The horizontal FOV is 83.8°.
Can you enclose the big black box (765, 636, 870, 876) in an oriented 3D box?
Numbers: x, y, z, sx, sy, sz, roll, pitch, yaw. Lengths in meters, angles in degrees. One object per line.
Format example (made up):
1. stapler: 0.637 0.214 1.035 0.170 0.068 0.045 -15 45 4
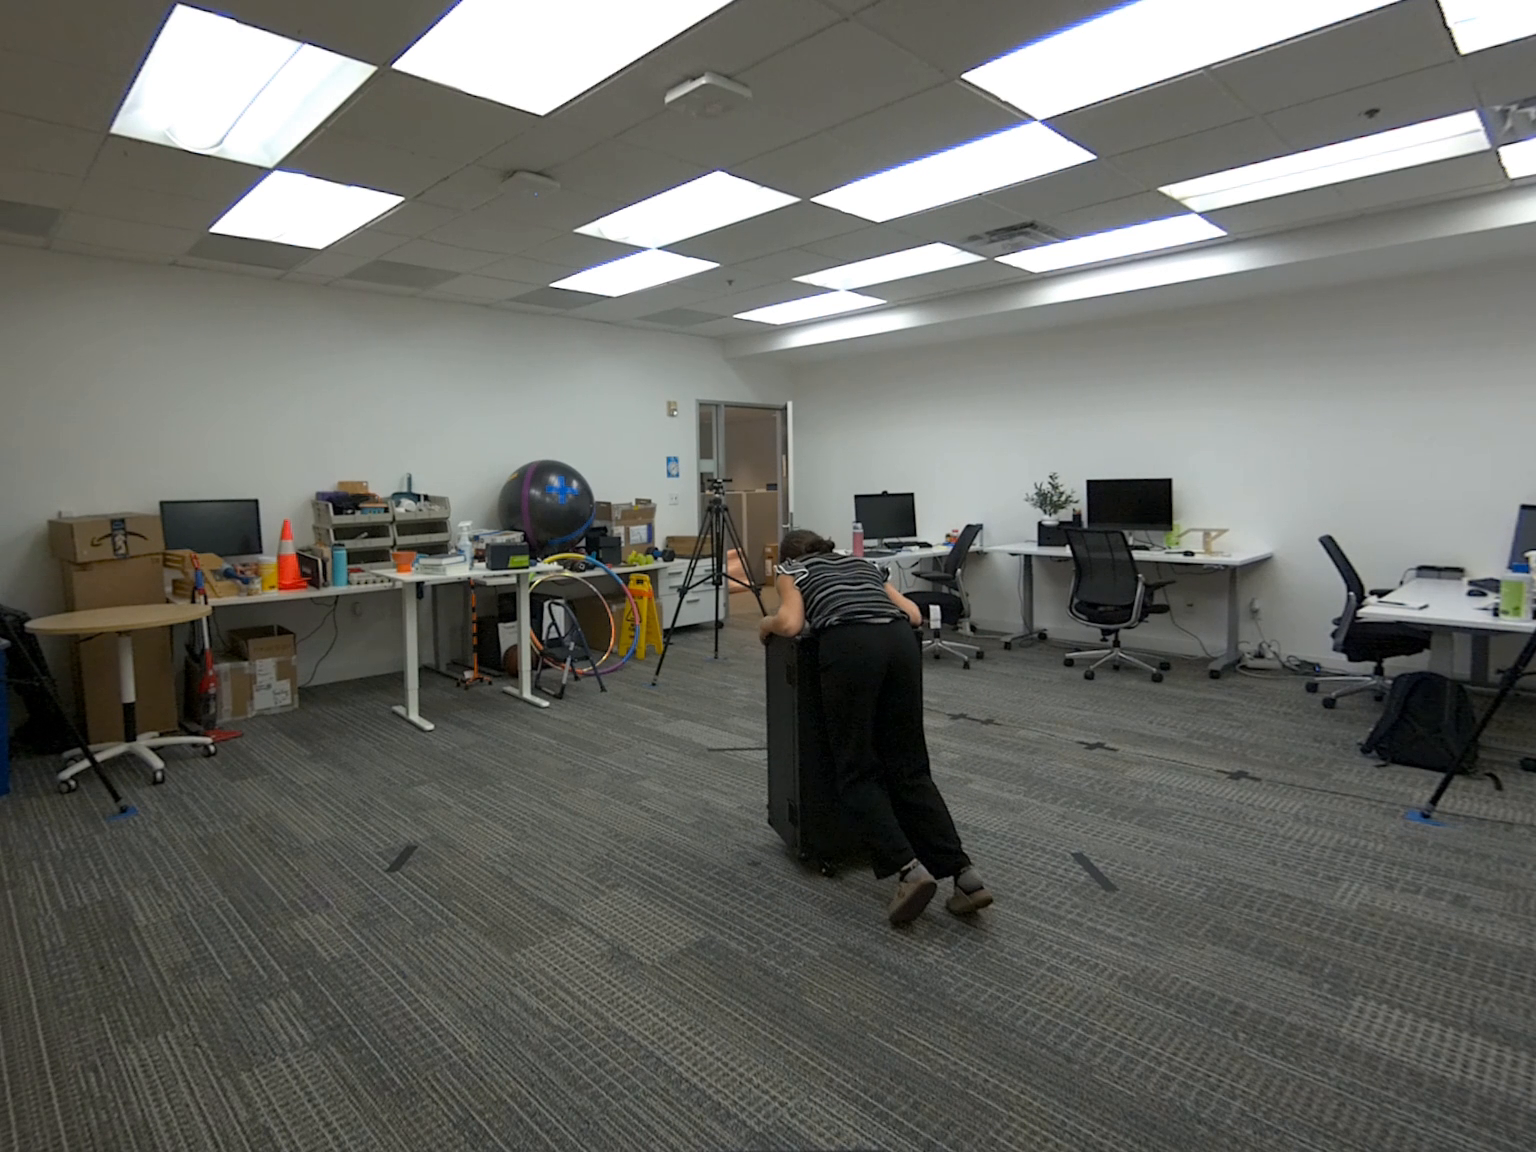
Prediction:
1. big black box: 0.265 0.618 3.184 0.514 0.860 0.403 -3 2 -16
